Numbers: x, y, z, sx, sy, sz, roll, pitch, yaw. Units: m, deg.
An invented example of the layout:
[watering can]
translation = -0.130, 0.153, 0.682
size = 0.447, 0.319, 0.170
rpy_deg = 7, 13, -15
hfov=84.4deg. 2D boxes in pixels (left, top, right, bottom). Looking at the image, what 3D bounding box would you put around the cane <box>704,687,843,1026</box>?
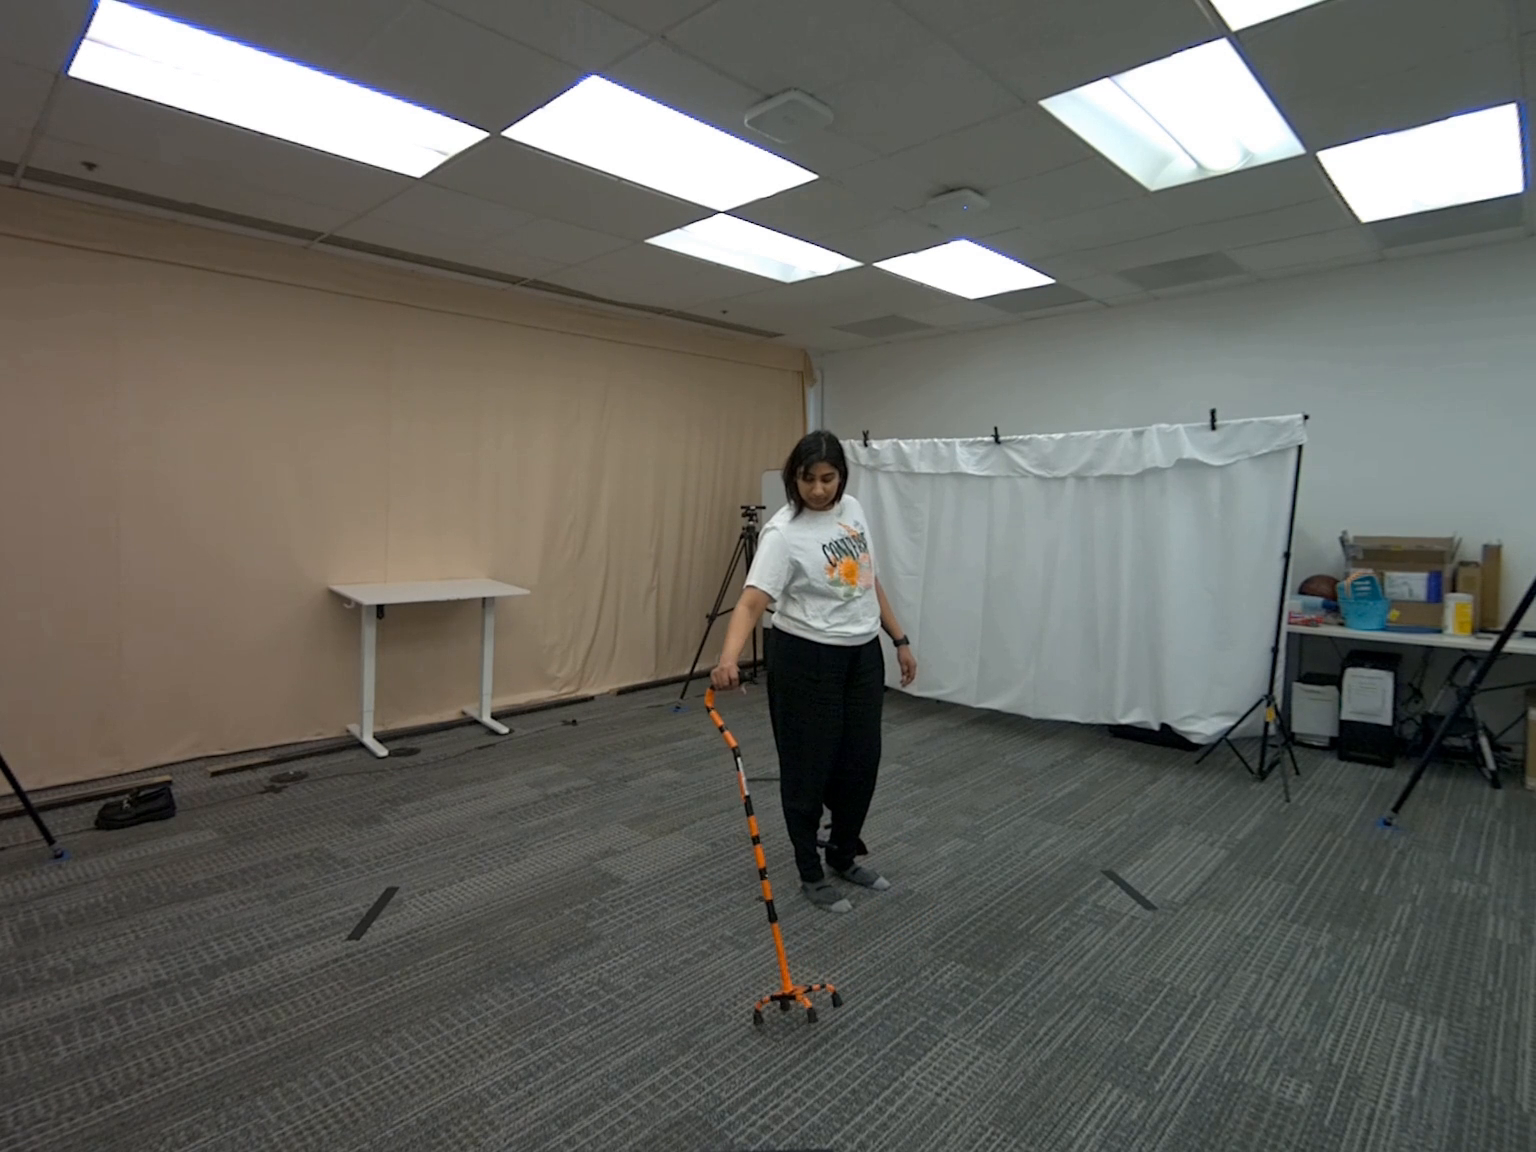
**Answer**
[cane]
translation = -0.014, 0.732, 2.348
size = 0.211, 0.919, 0.147
rpy_deg = -22, -17, 32
